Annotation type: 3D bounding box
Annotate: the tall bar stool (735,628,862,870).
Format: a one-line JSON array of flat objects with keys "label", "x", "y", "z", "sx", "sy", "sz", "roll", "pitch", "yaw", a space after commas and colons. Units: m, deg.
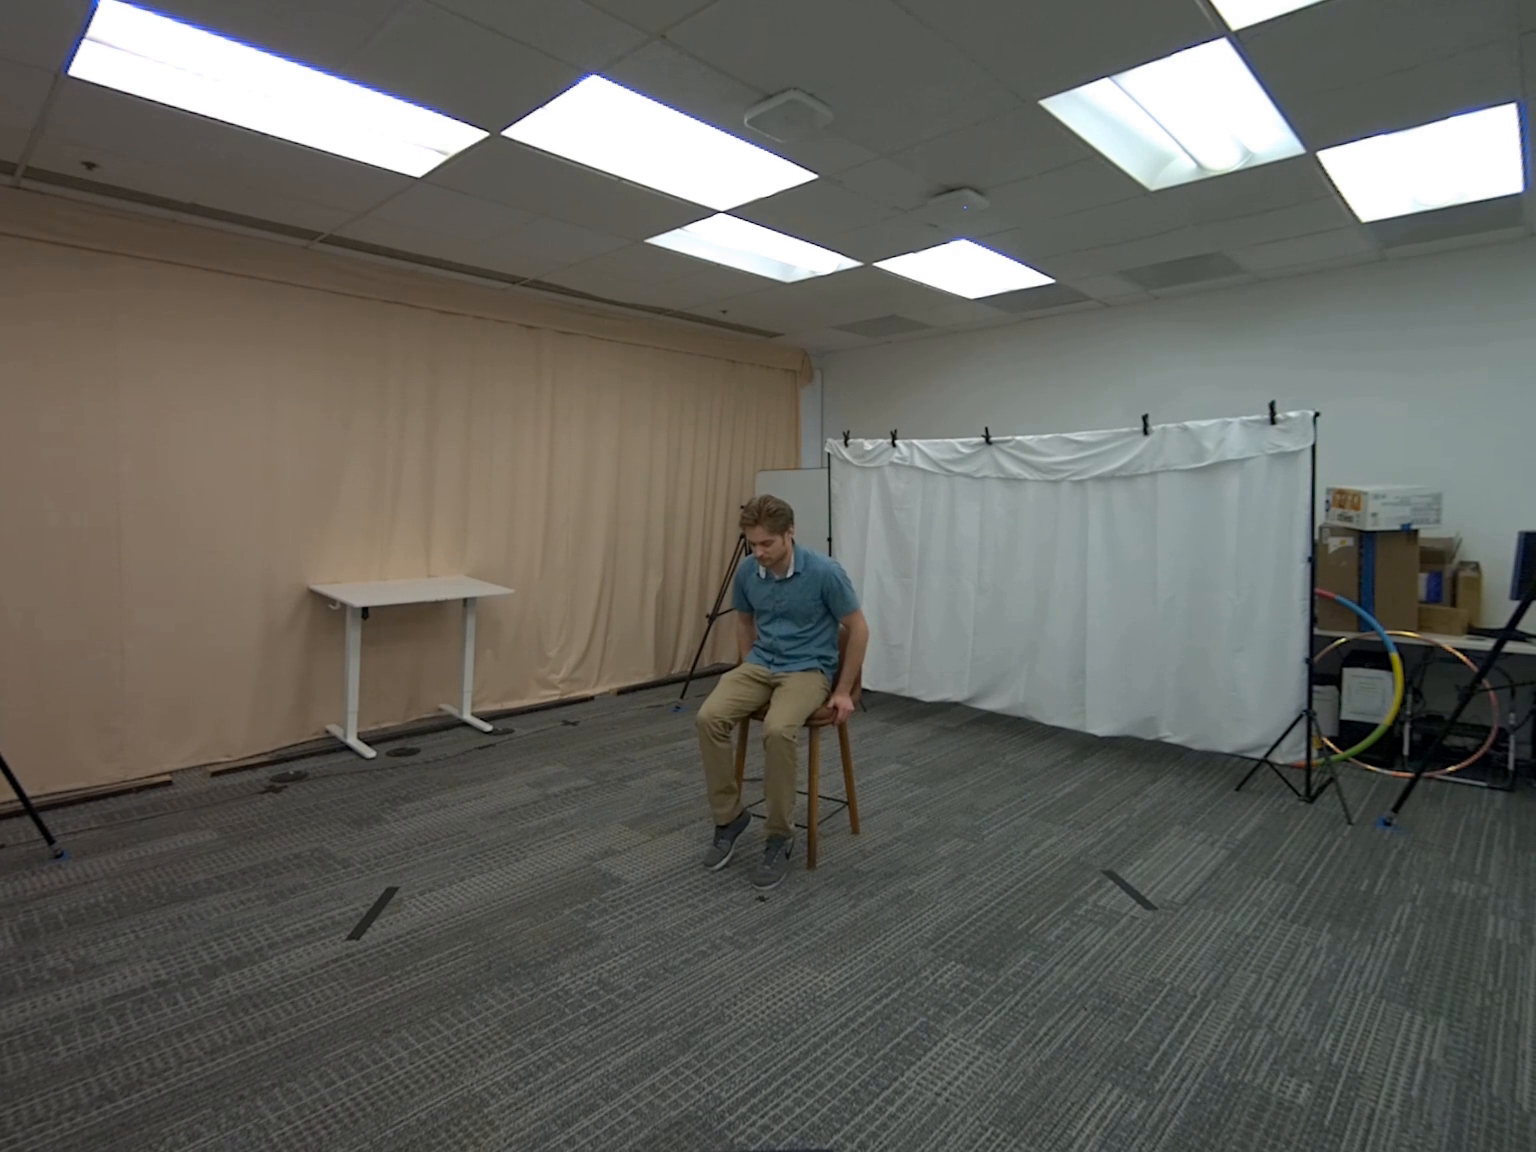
[{"label": "tall bar stool", "x": 0.133, "y": 0.667, "z": 3.492, "sx": 0.471, "sy": 0.889, "sz": 0.454, "roll": 3, "pitch": 2, "yaw": 33}]
